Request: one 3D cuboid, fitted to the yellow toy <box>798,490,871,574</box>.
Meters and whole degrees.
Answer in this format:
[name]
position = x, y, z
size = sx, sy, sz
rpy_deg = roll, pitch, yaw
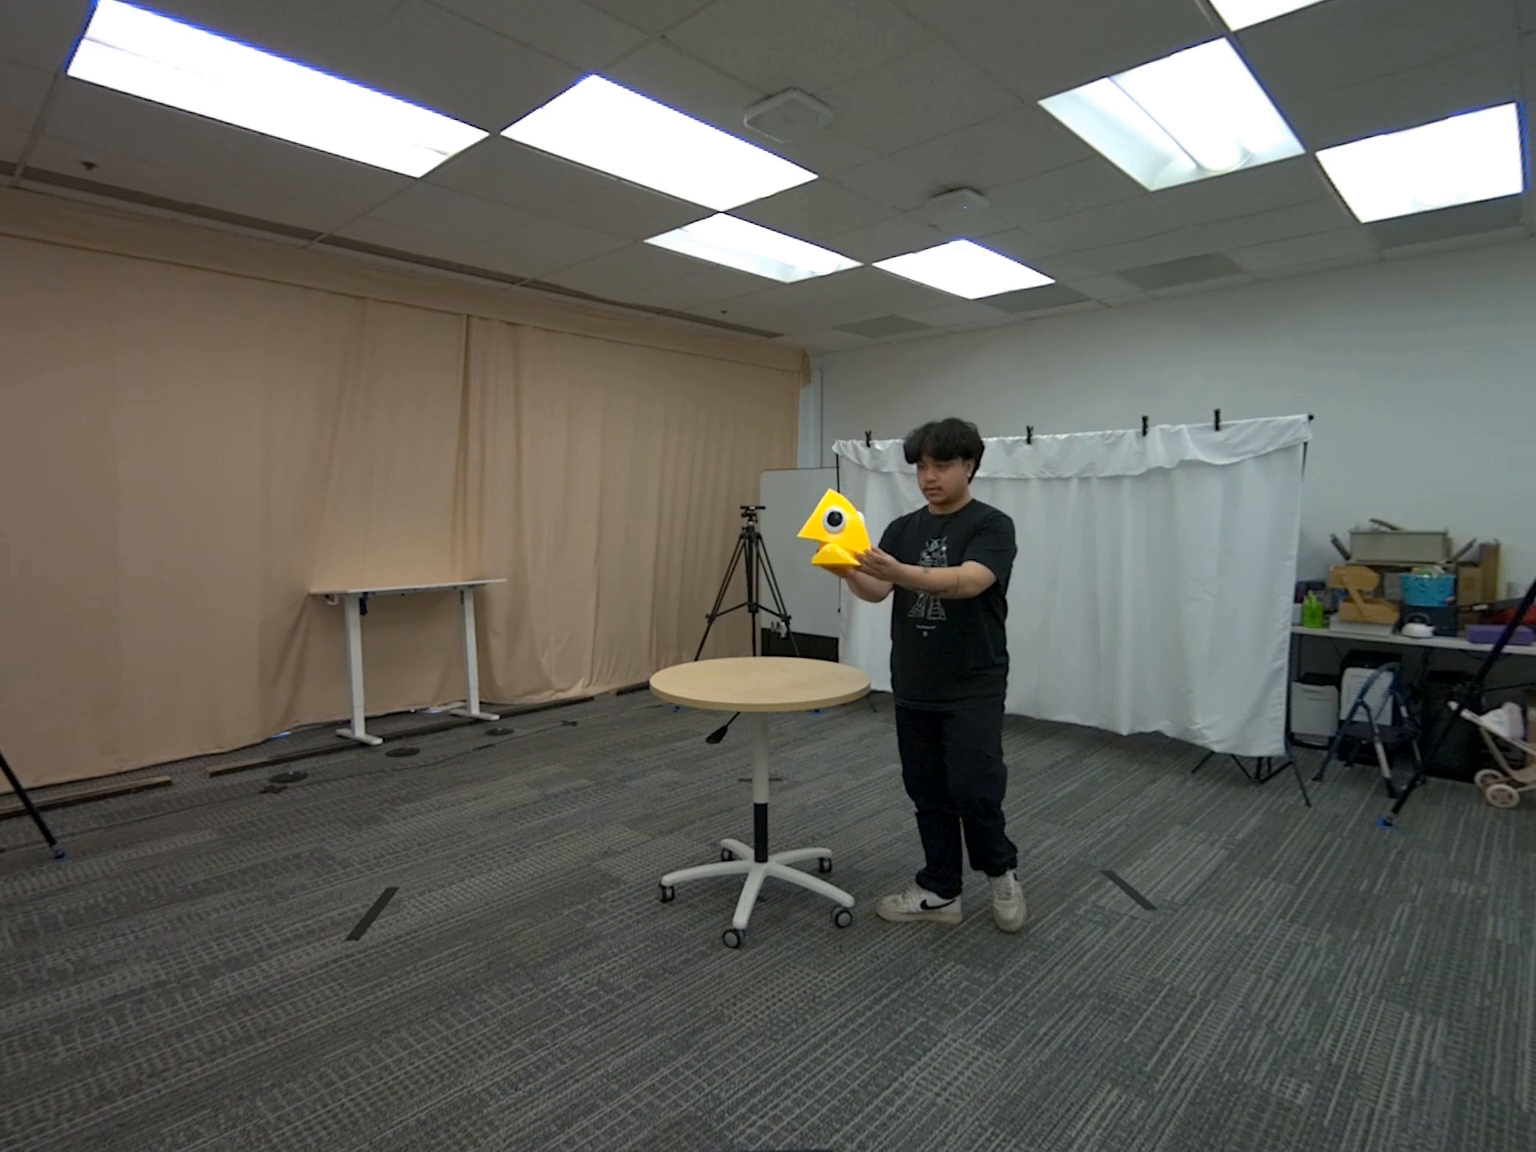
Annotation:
[yellow toy]
position = 0.228, -0.138, 2.414
size = 0.199, 0.231, 0.198
rpy_deg = -1, -6, 44
